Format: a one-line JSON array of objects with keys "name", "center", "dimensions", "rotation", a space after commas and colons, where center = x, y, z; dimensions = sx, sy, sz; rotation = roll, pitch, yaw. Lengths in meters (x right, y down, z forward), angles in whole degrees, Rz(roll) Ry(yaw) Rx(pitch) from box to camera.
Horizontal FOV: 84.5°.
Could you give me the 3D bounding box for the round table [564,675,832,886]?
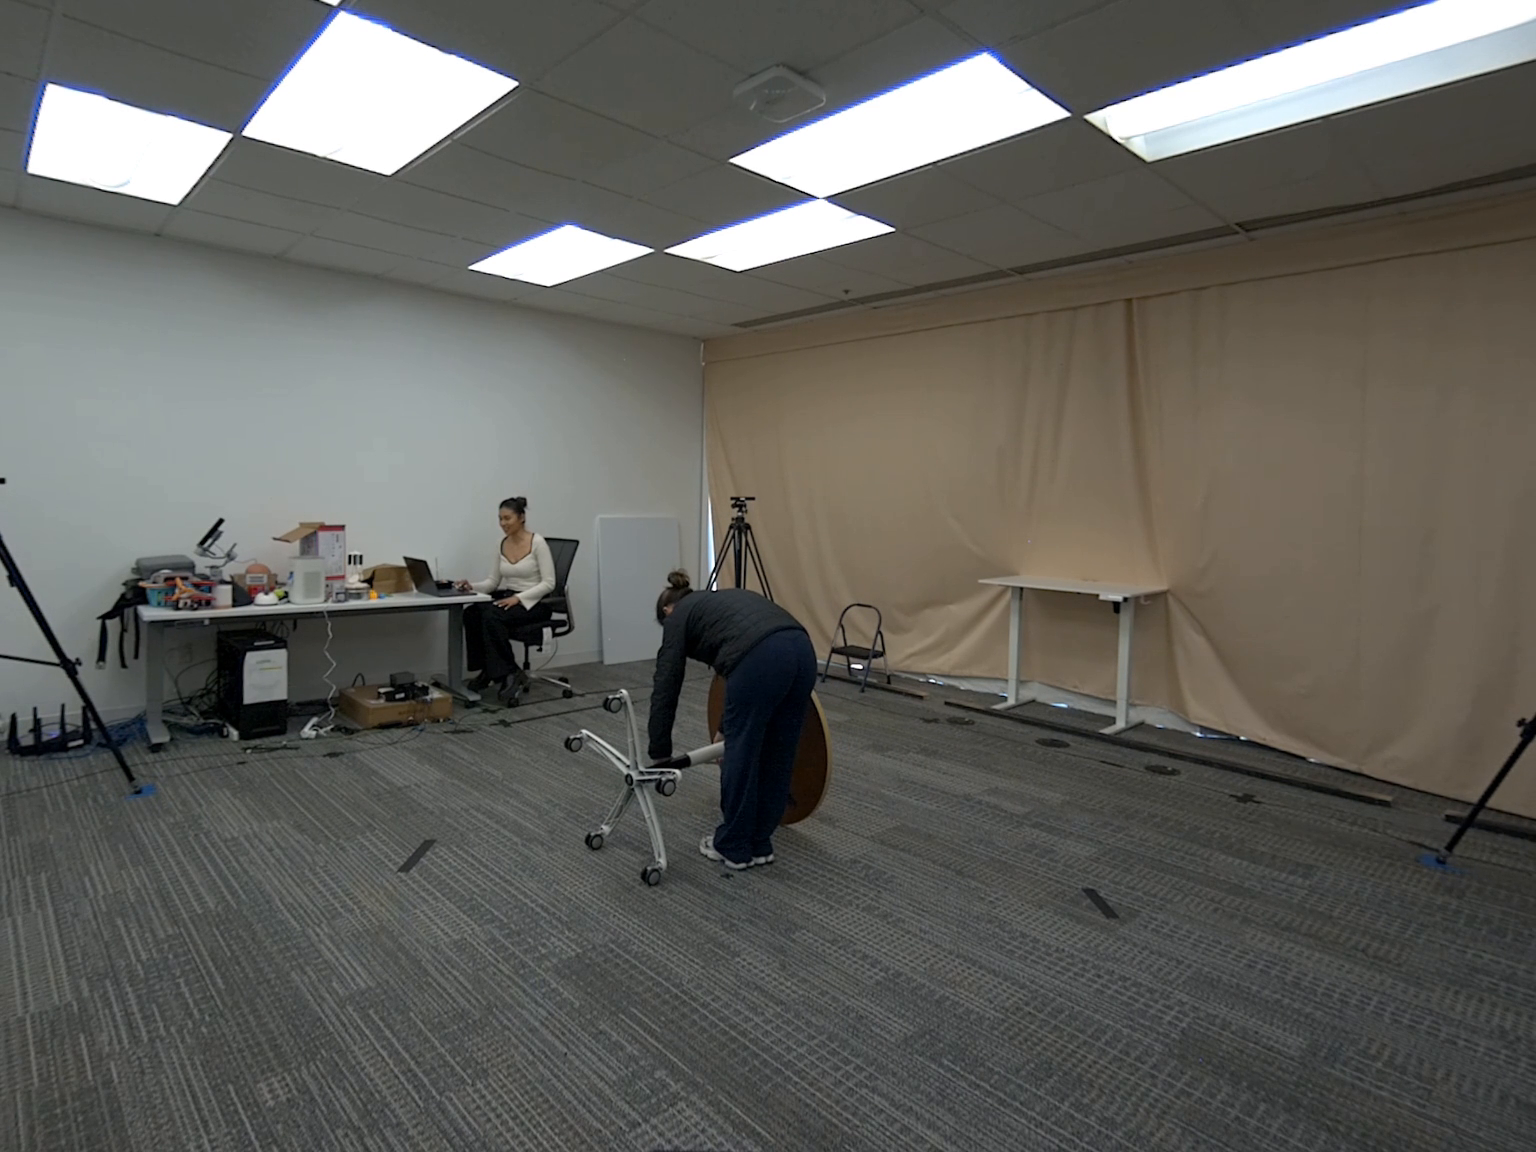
[{"name": "round table", "center": [-0.290, 0.745, 3.359], "dimensions": [0.771, 0.780, 0.805], "rotation": [-10, 11, -42]}]
